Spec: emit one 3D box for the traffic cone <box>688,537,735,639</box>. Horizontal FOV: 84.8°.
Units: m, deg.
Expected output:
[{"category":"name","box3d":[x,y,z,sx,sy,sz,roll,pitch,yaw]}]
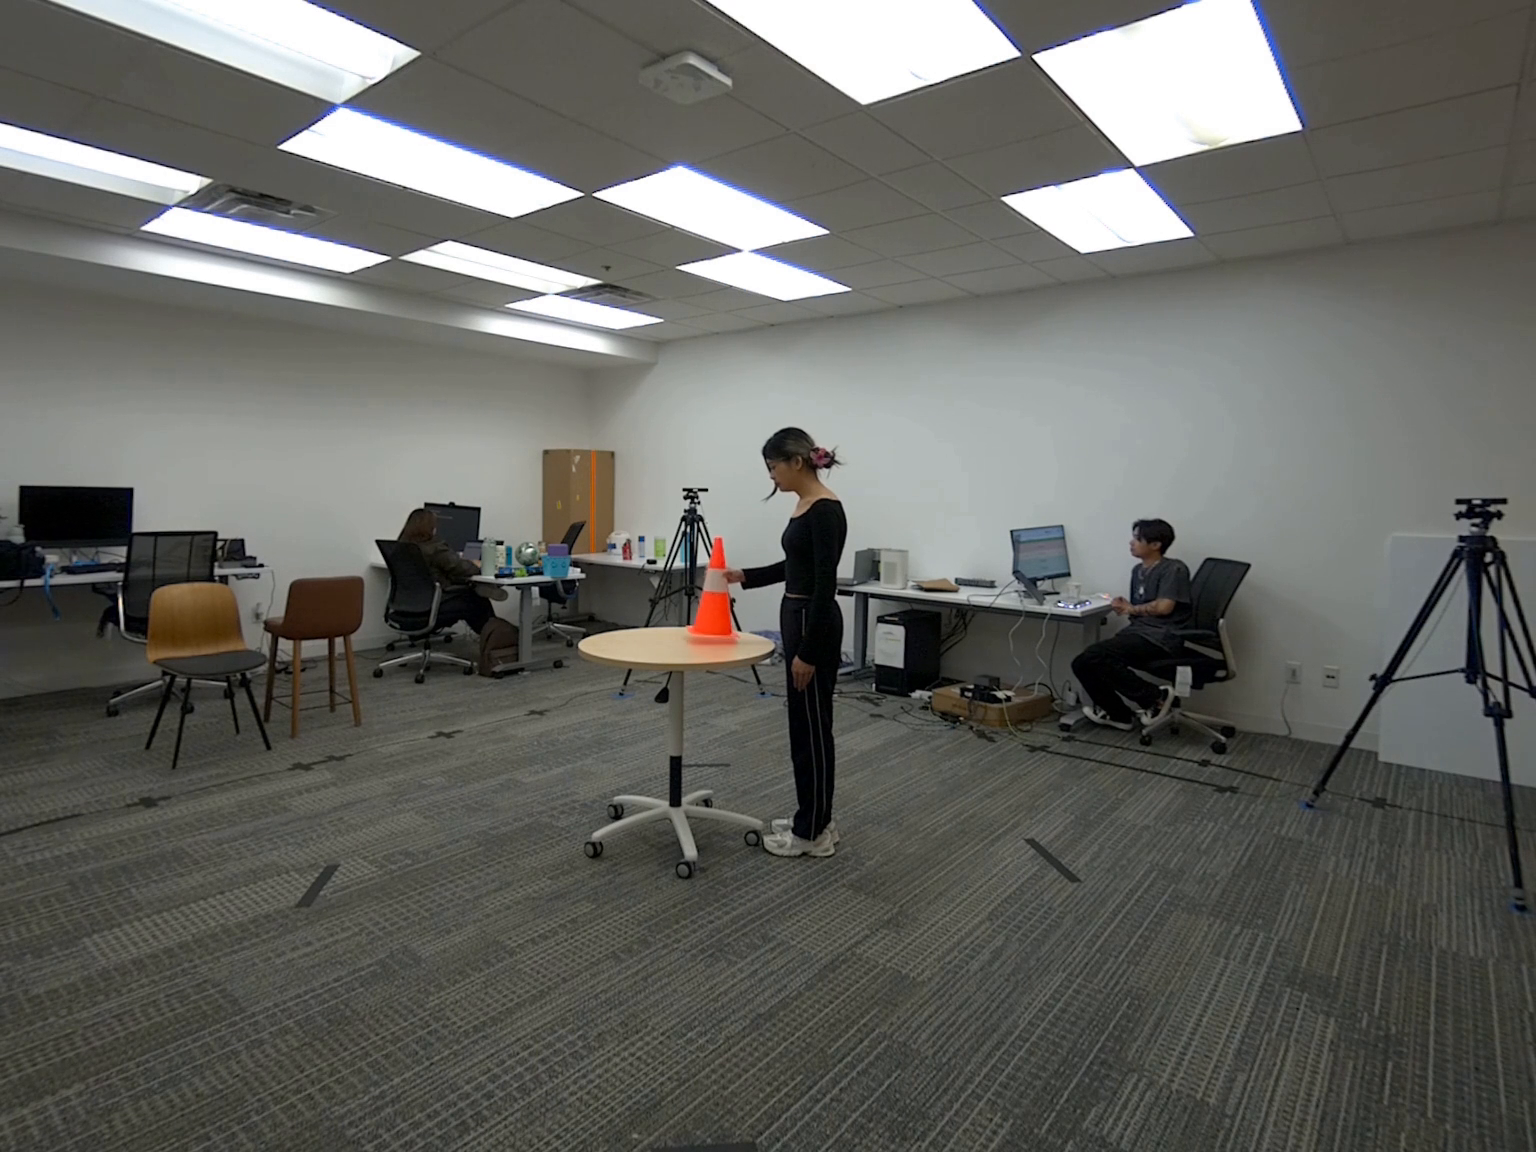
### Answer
[{"category":"traffic cone","box3d":[-0.217,0.033,3.400,0.203,0.382,0.206,4,5,-1]}]
